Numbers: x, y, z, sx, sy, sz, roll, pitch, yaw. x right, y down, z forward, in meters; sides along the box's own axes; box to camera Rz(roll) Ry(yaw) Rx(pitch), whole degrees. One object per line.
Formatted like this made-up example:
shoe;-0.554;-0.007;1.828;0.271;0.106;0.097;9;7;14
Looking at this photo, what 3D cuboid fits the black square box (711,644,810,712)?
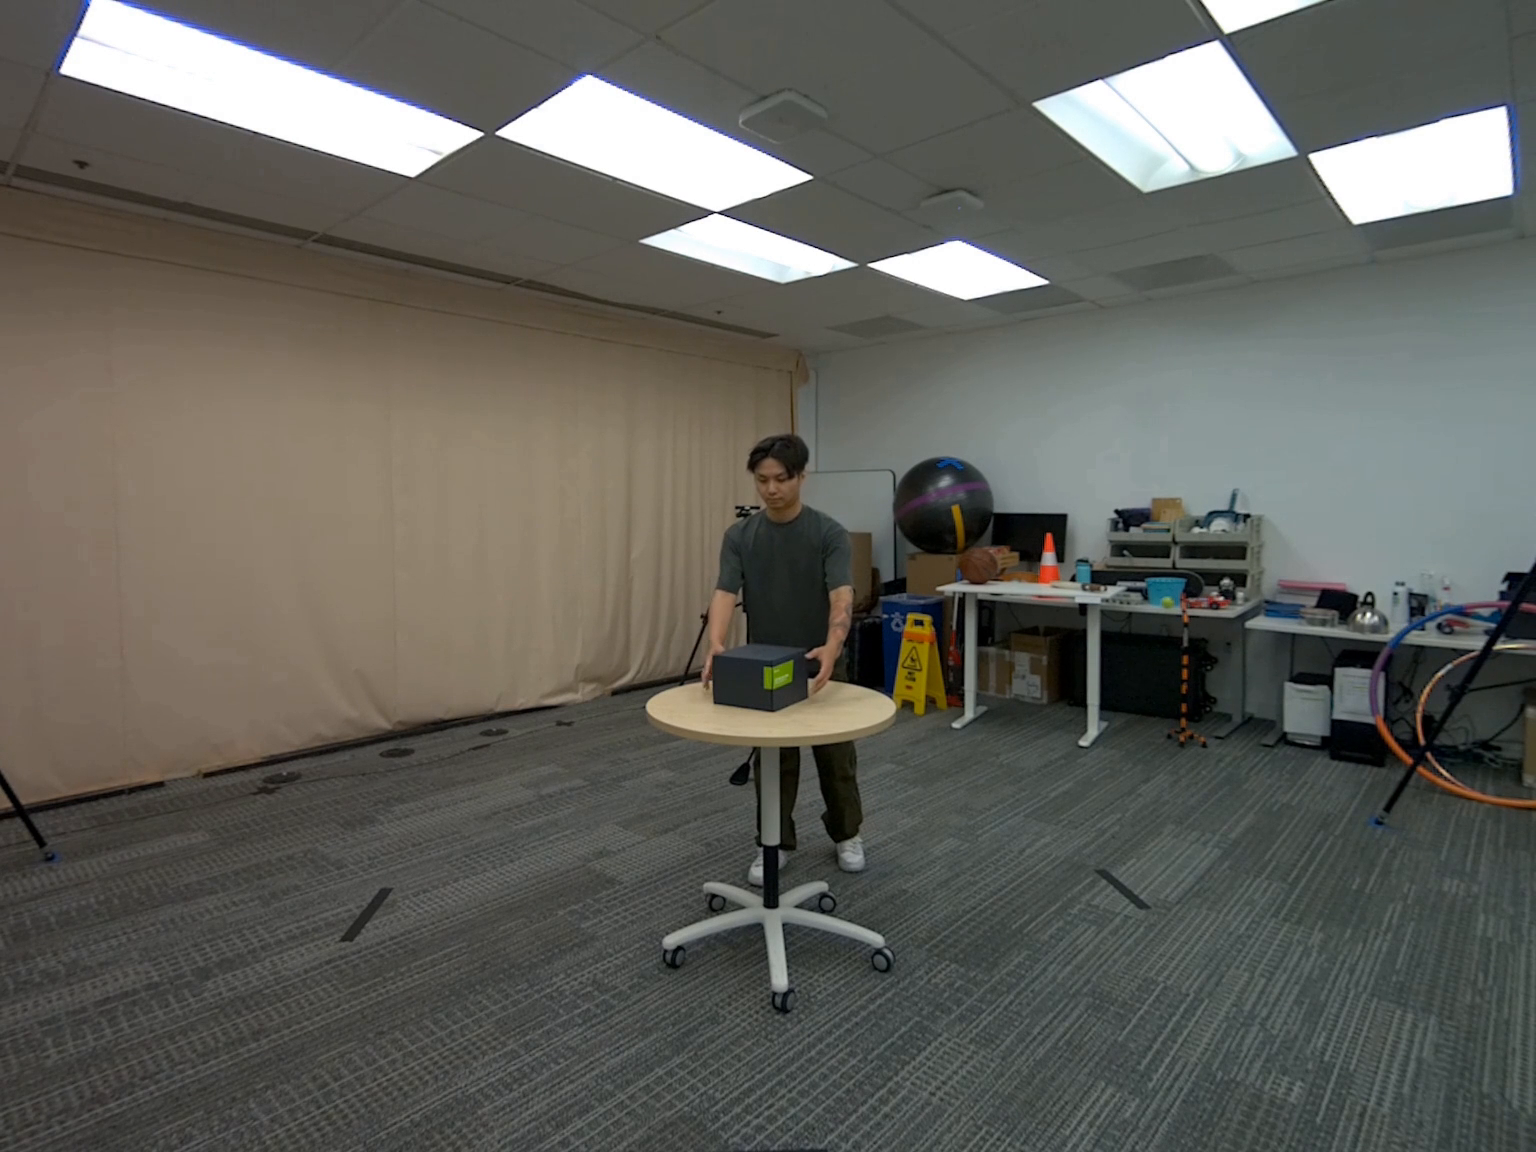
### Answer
black square box;-0.025;0.311;2.628;0.223;0.155;0.222;3;5;31
